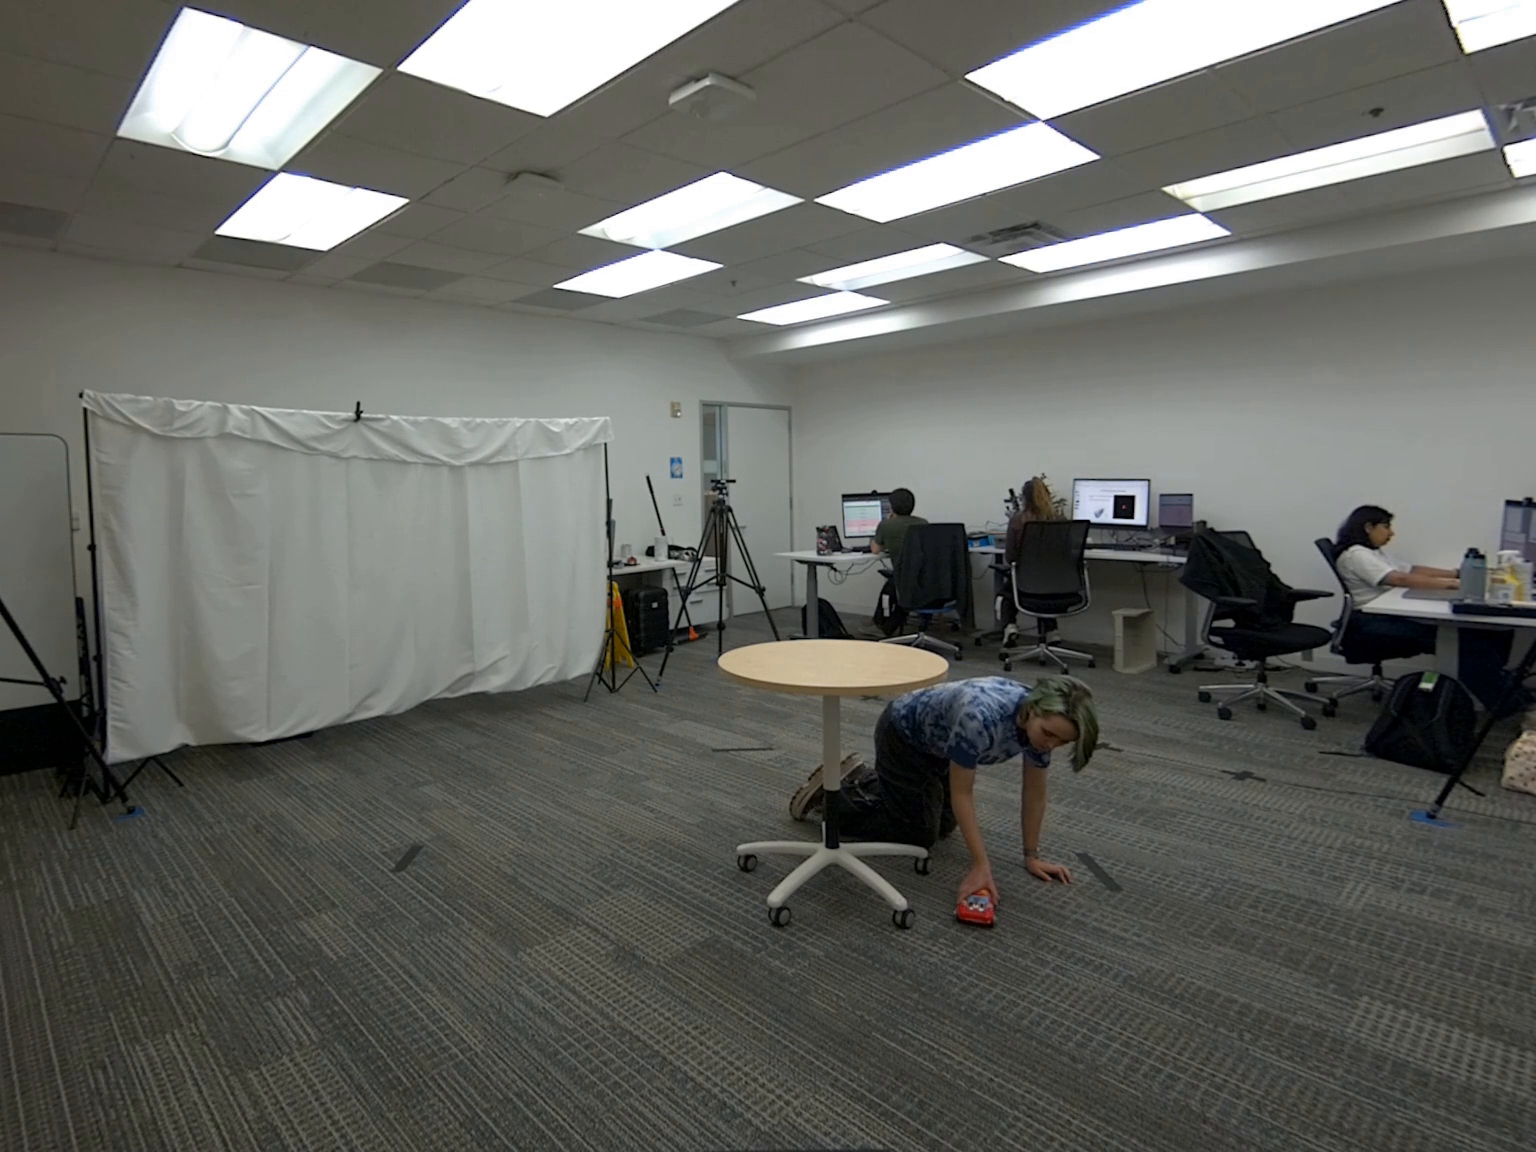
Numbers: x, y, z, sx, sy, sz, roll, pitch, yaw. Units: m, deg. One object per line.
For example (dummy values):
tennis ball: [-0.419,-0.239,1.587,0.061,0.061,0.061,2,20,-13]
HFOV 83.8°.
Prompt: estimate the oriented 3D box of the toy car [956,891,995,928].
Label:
toy car: [0.683,1.052,2.752,0.133,0.082,0.253,1,16,20]
